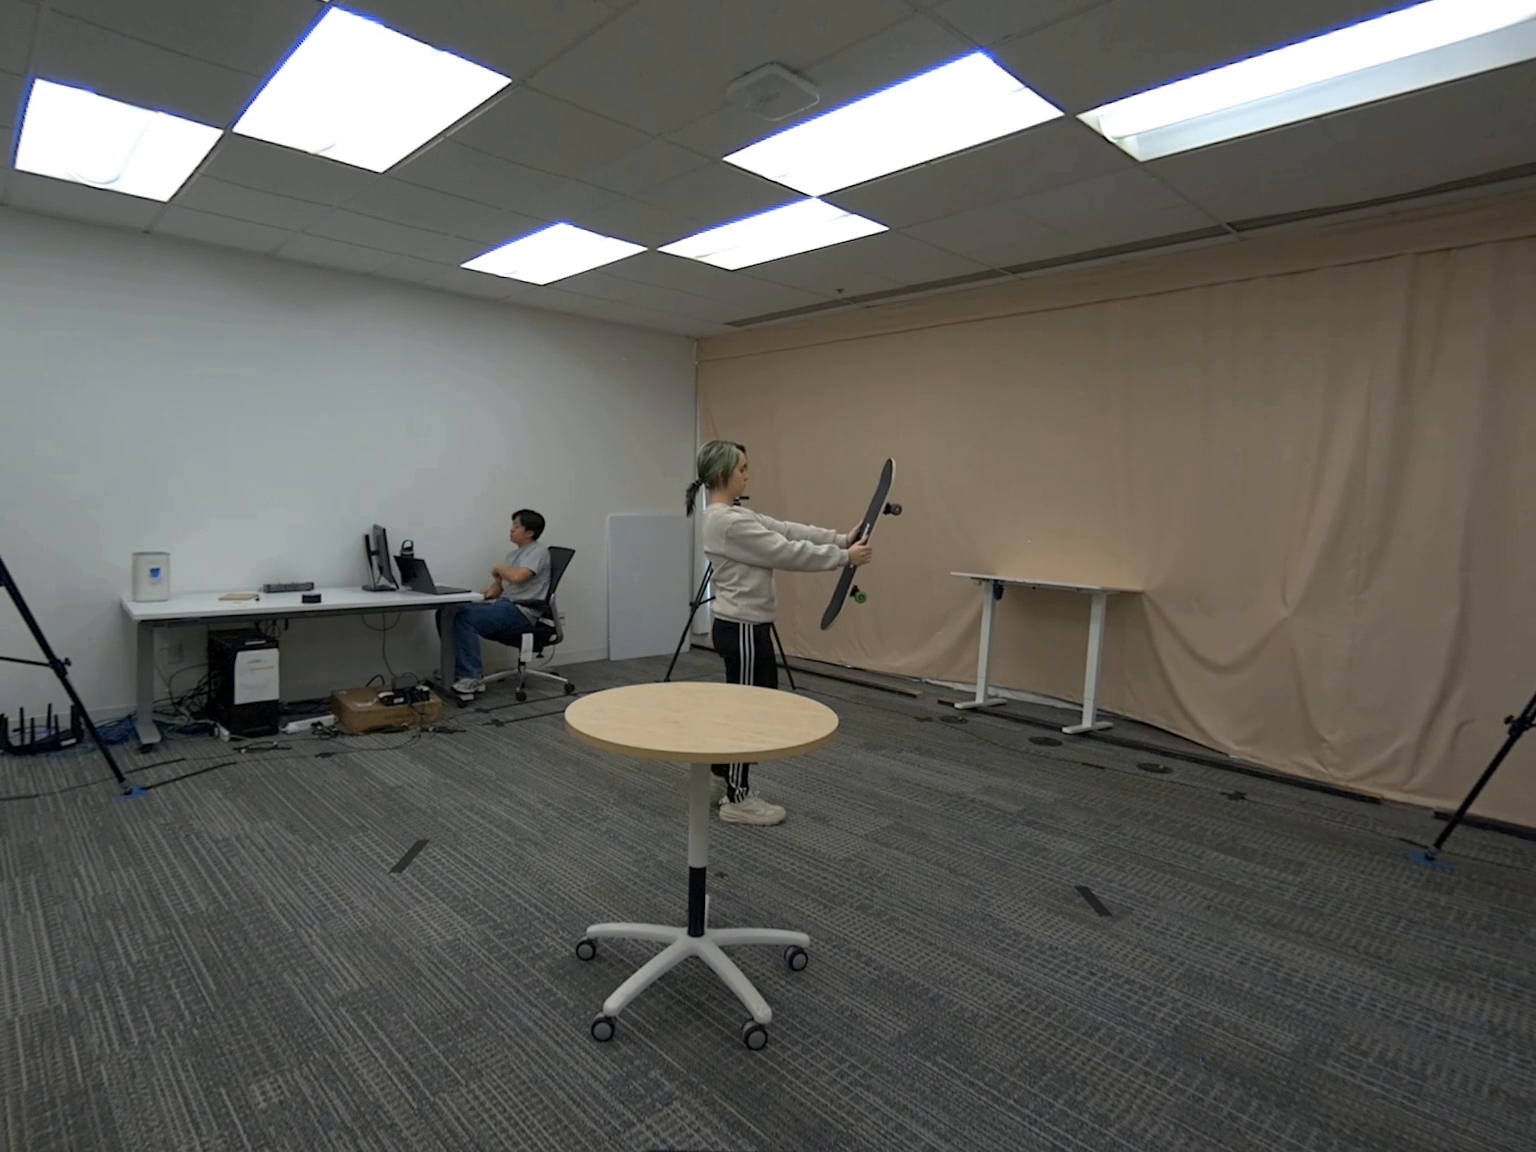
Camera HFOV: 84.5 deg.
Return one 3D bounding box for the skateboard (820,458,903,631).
[{"bbox_3d":[0.415,-0.123,3.616,0.109,0.785,0.195,20,1,-11],"label":"skateboard"}]
